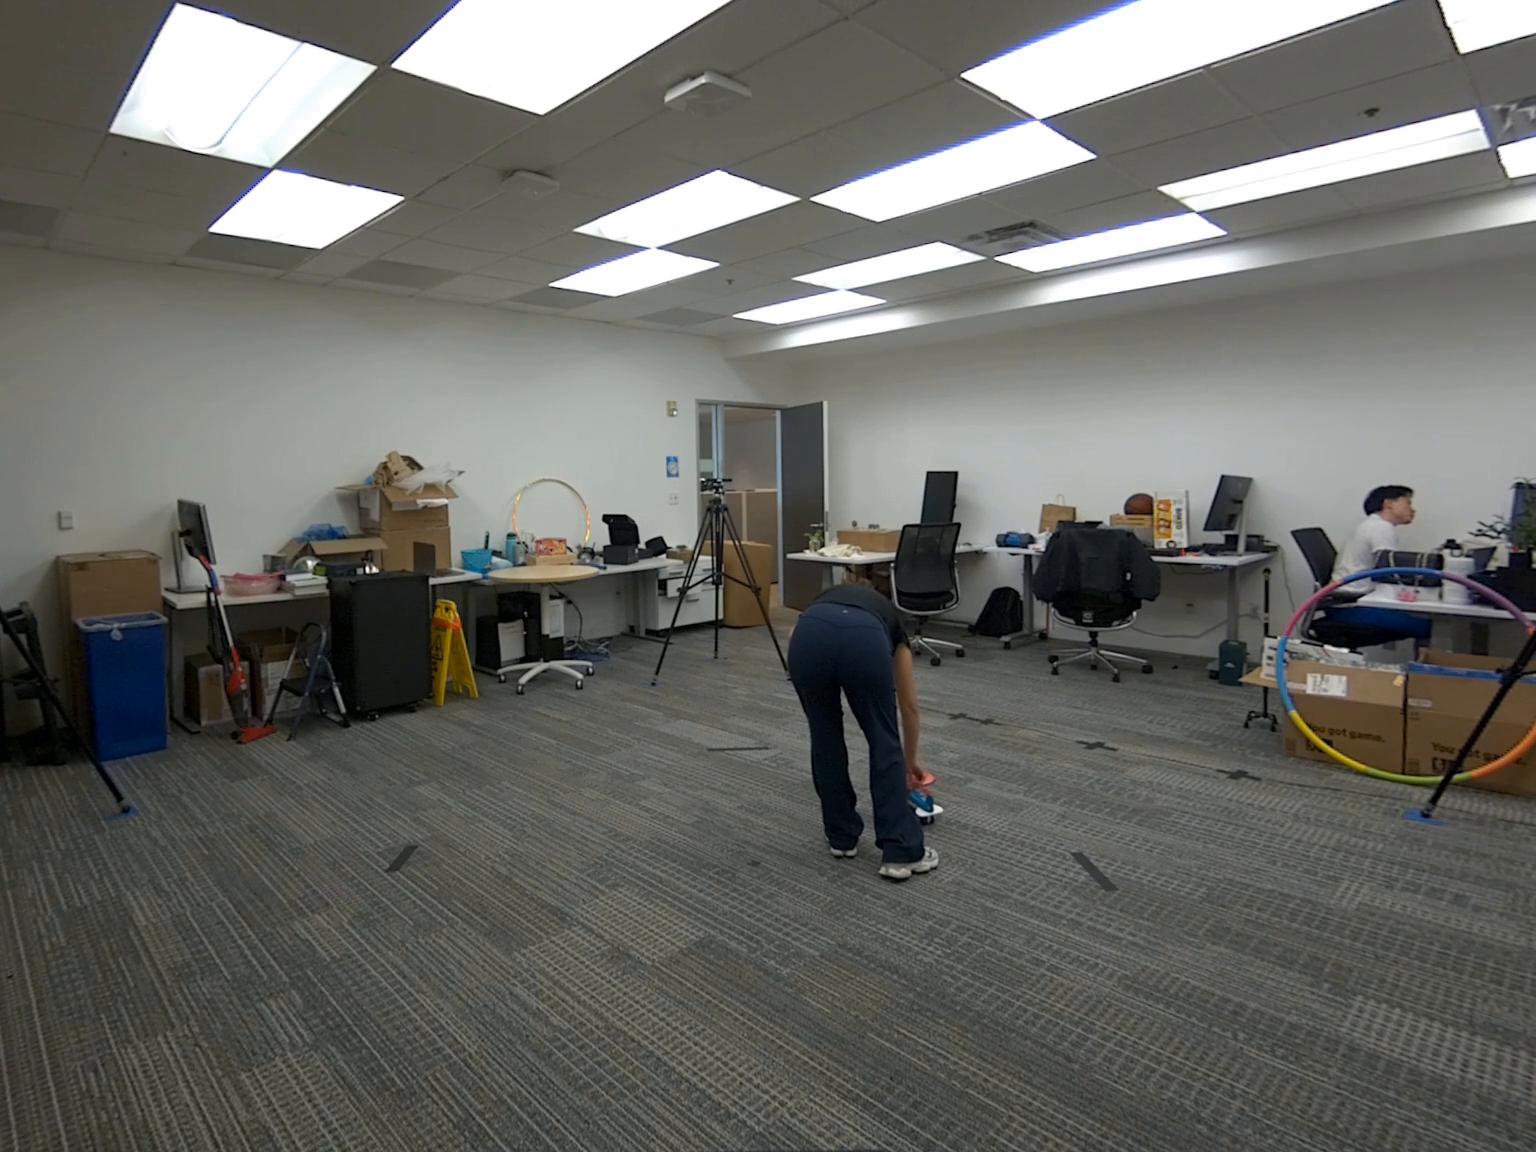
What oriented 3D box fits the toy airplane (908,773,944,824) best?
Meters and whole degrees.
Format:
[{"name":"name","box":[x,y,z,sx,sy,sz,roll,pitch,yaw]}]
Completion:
[{"name":"toy airplane","box":[0.604,0.912,3.538,0.267,0.156,0.245,3,7,37]}]
